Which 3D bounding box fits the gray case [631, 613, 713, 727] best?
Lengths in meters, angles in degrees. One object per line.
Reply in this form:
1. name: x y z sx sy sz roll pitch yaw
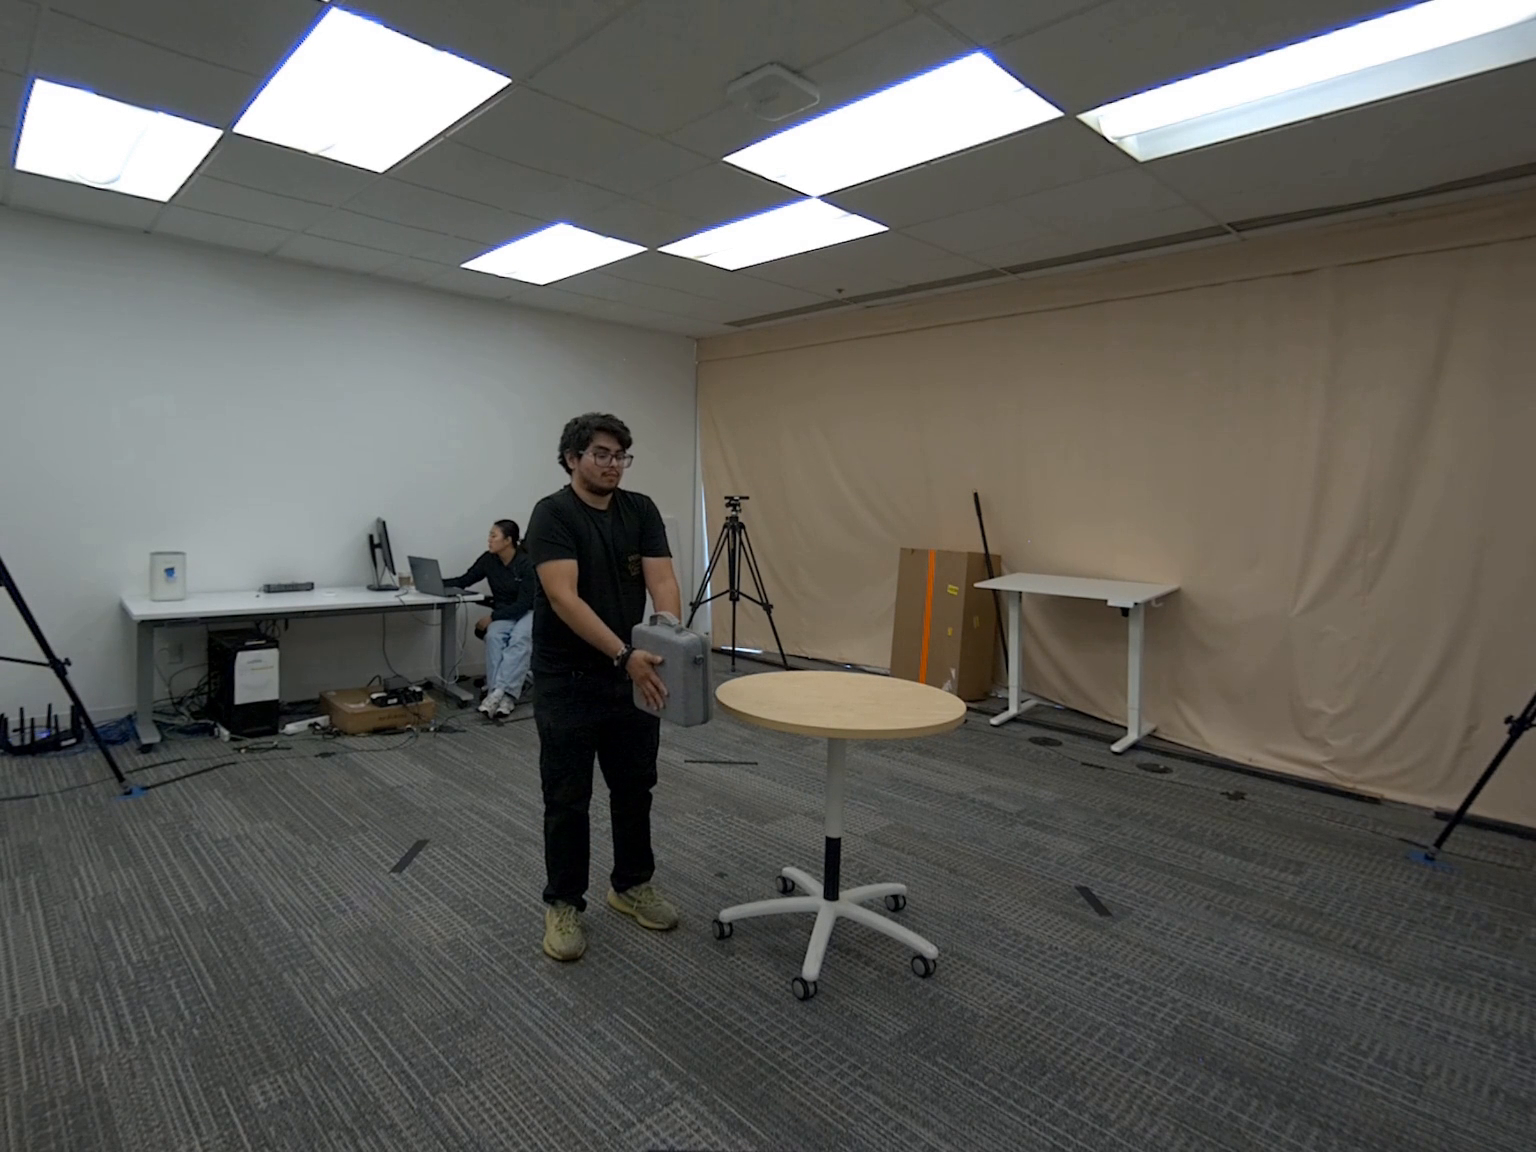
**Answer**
1. gray case: -0.269 0.264 2.307 0.102 0.259 0.264 -7 11 -42
